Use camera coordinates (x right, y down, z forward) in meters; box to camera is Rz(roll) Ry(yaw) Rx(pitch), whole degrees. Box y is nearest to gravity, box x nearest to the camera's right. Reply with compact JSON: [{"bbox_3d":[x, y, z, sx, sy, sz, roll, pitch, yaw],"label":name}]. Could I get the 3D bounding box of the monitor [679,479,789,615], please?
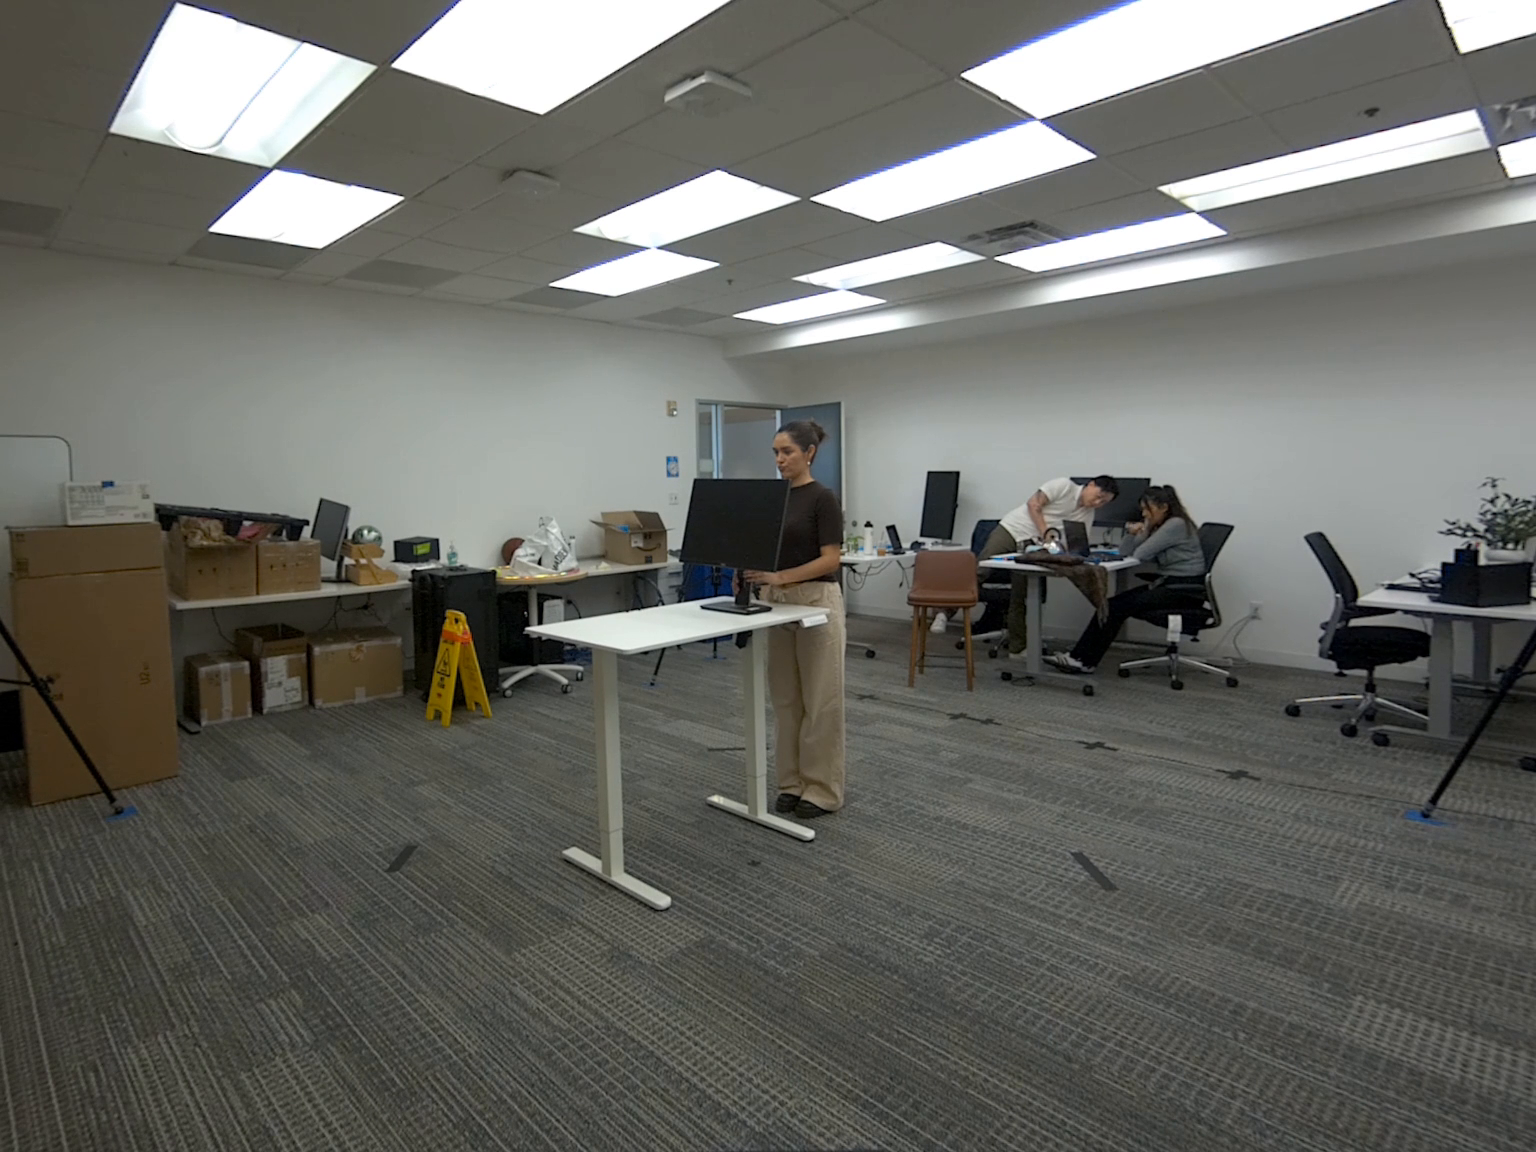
[{"bbox_3d":[-0.124,-0.124,3.353,0.547,0.512,0.170,6,11,44],"label":"monitor"}]
